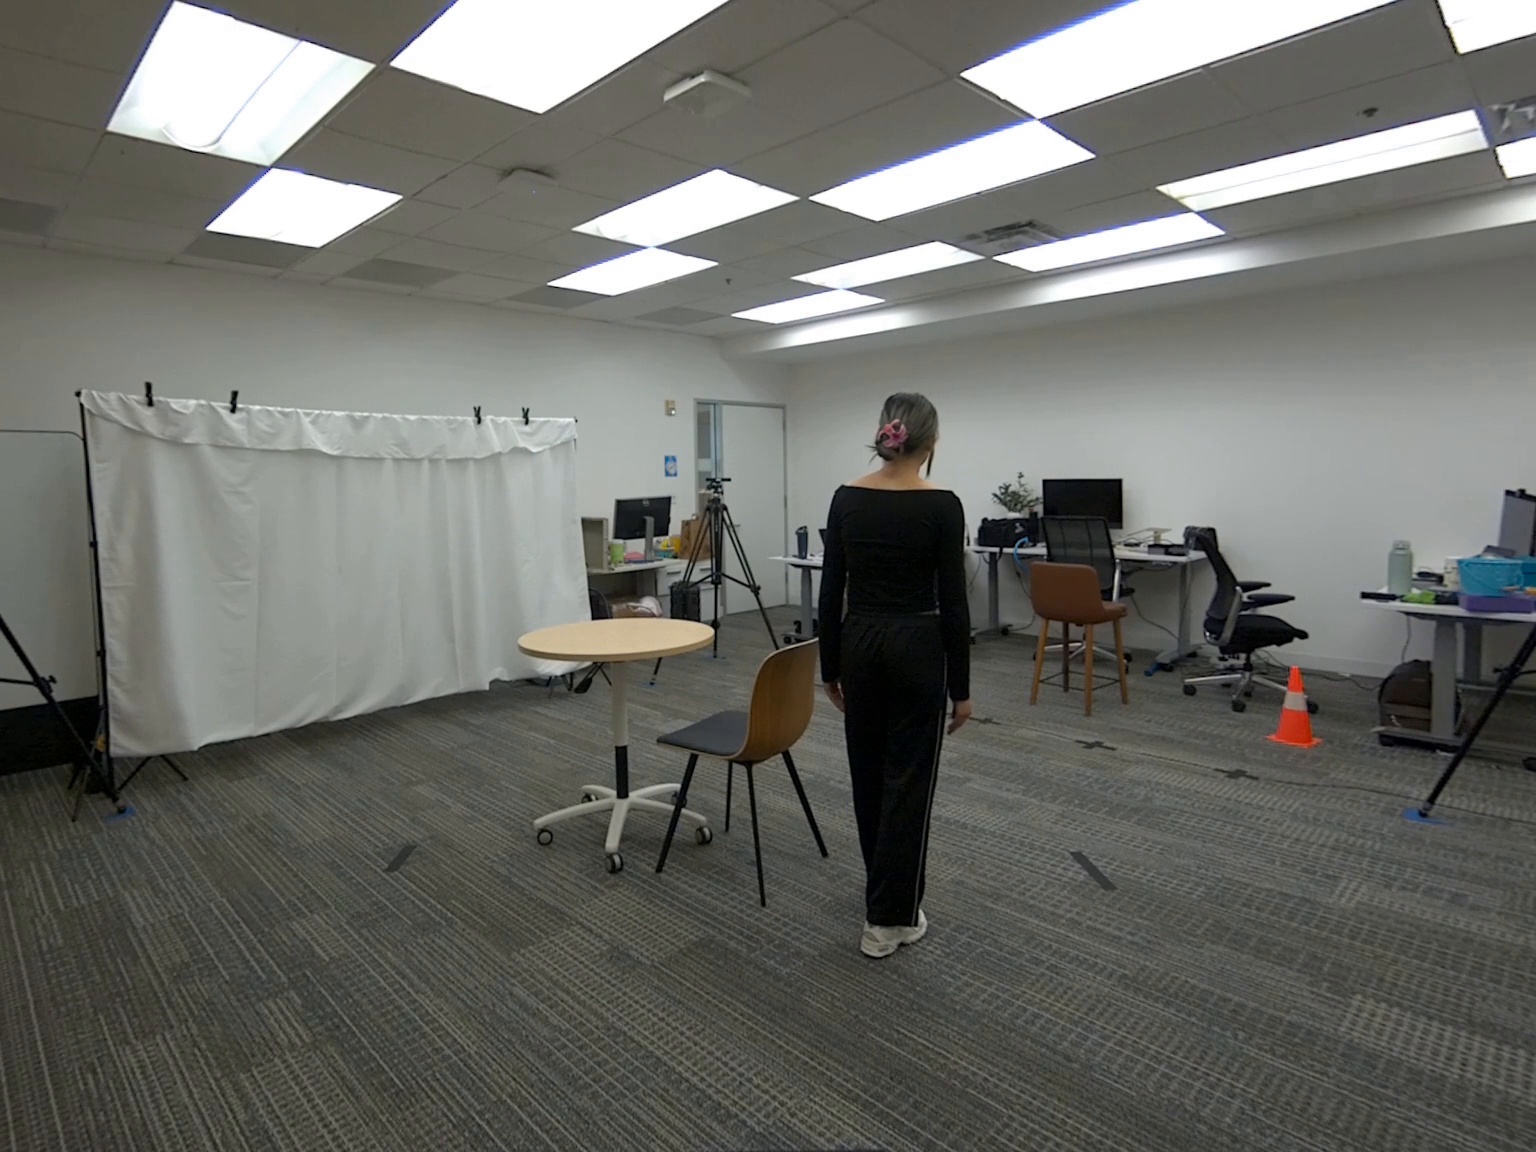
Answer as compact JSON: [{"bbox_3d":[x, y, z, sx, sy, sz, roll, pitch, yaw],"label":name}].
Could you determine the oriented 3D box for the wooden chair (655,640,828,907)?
[{"bbox_3d":[-0.101,0.620,3.066,0.539,0.872,0.467,7,8,33],"label":"wooden chair"}]
